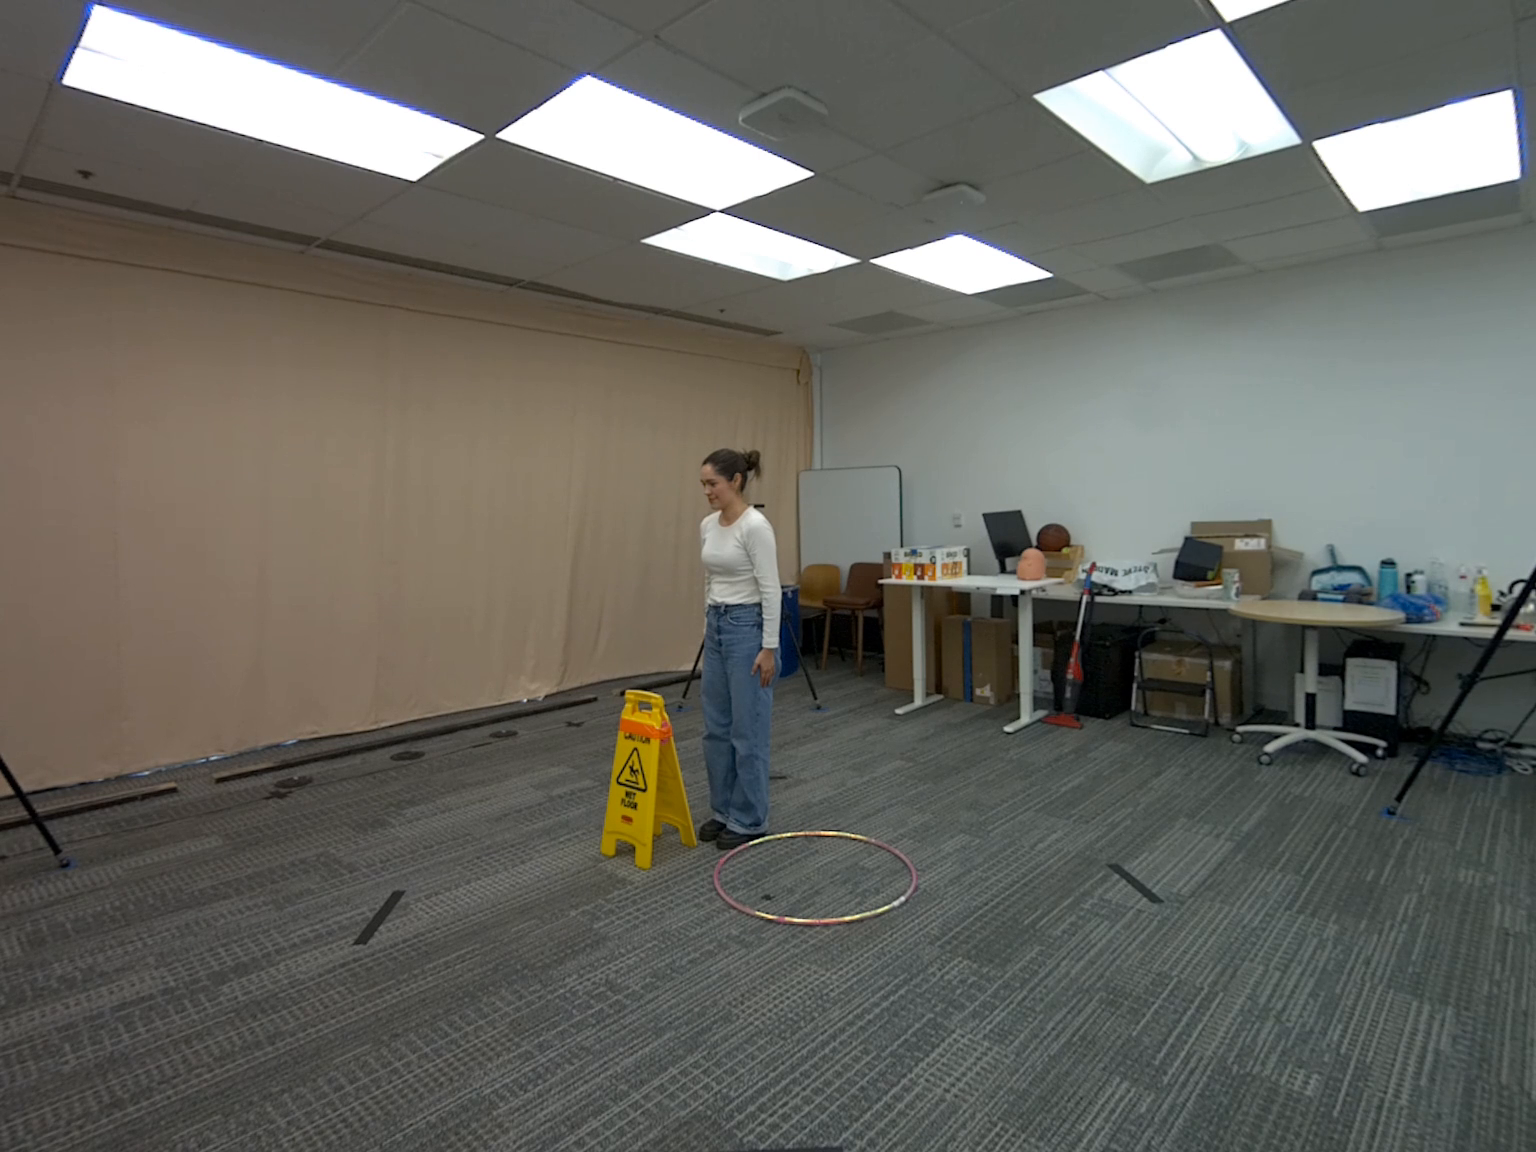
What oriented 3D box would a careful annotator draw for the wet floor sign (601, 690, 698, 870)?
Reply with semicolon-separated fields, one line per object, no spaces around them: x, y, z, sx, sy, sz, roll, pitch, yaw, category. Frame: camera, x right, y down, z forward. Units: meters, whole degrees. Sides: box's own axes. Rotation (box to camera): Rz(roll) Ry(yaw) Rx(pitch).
-0.487;0.788;3.405;0.291;0.645;0.281;0;4;40;wet floor sign
